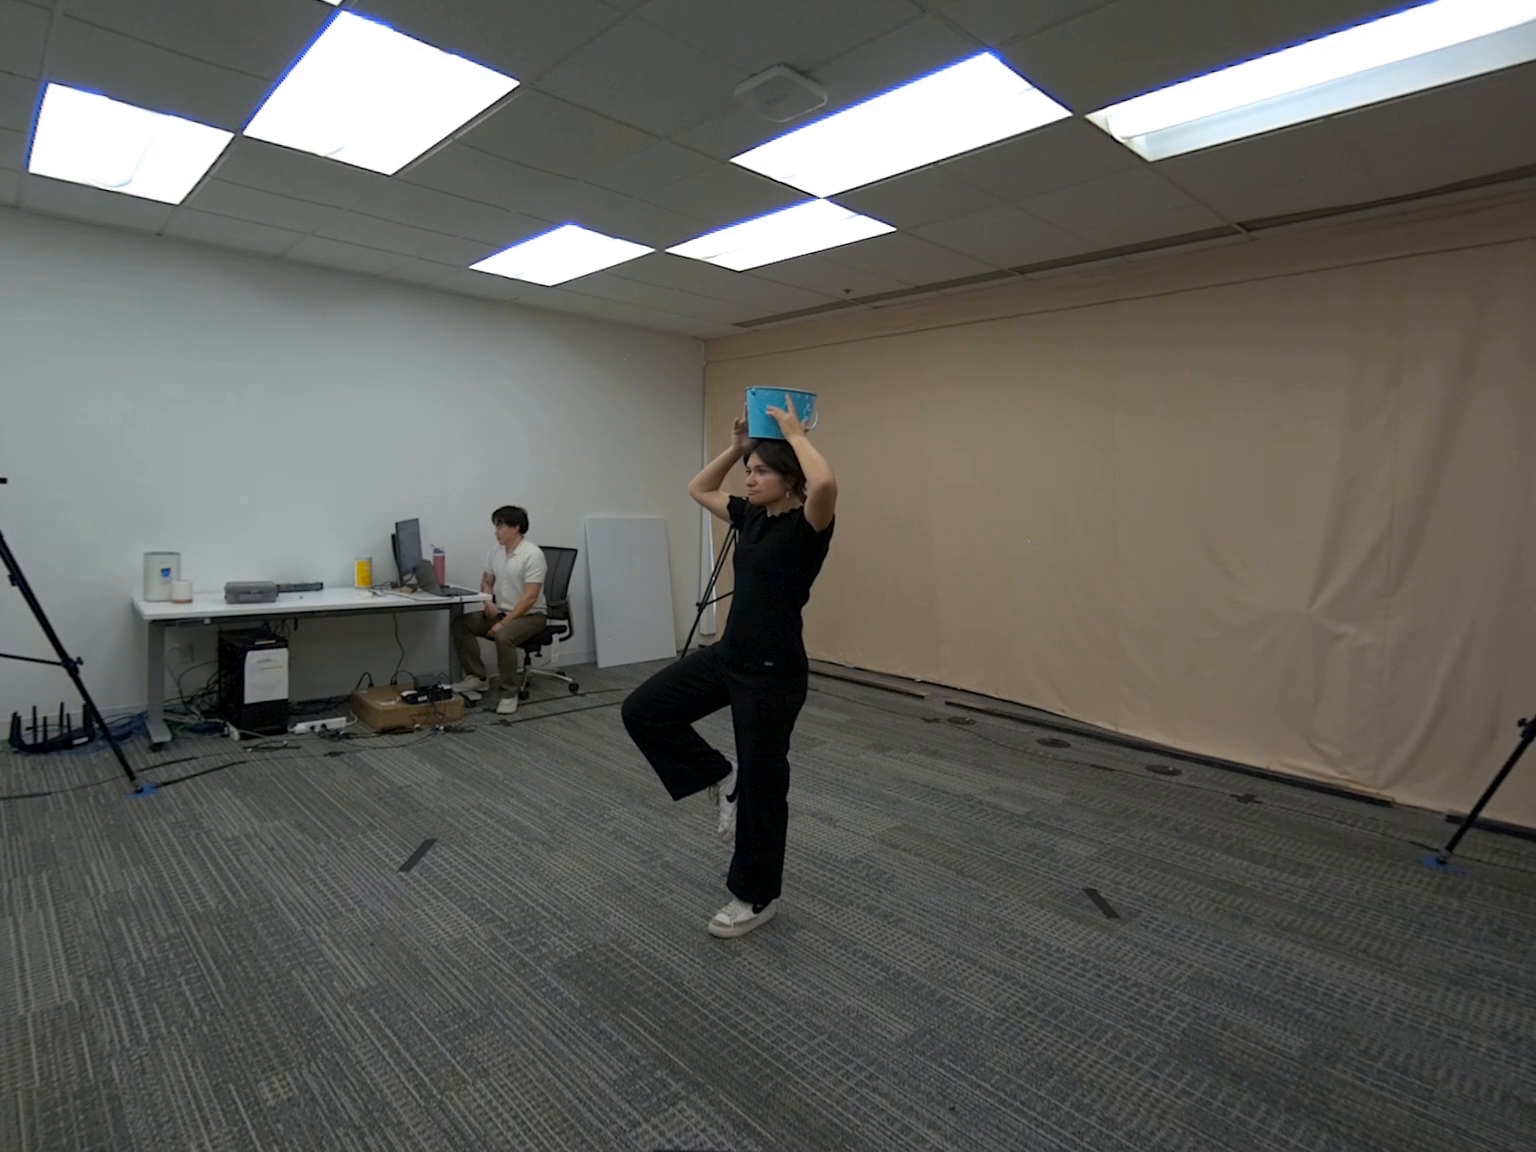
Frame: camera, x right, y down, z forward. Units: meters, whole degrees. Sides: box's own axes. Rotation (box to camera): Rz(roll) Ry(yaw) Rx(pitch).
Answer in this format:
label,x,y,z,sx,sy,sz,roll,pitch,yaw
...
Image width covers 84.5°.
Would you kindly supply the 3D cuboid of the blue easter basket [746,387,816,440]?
label,x,y,z,sx,sy,sz,roll,pitch,yaw
blue easter basket,0.030,-0.506,2.659,0.243,0.155,0.244,6,5,-2
